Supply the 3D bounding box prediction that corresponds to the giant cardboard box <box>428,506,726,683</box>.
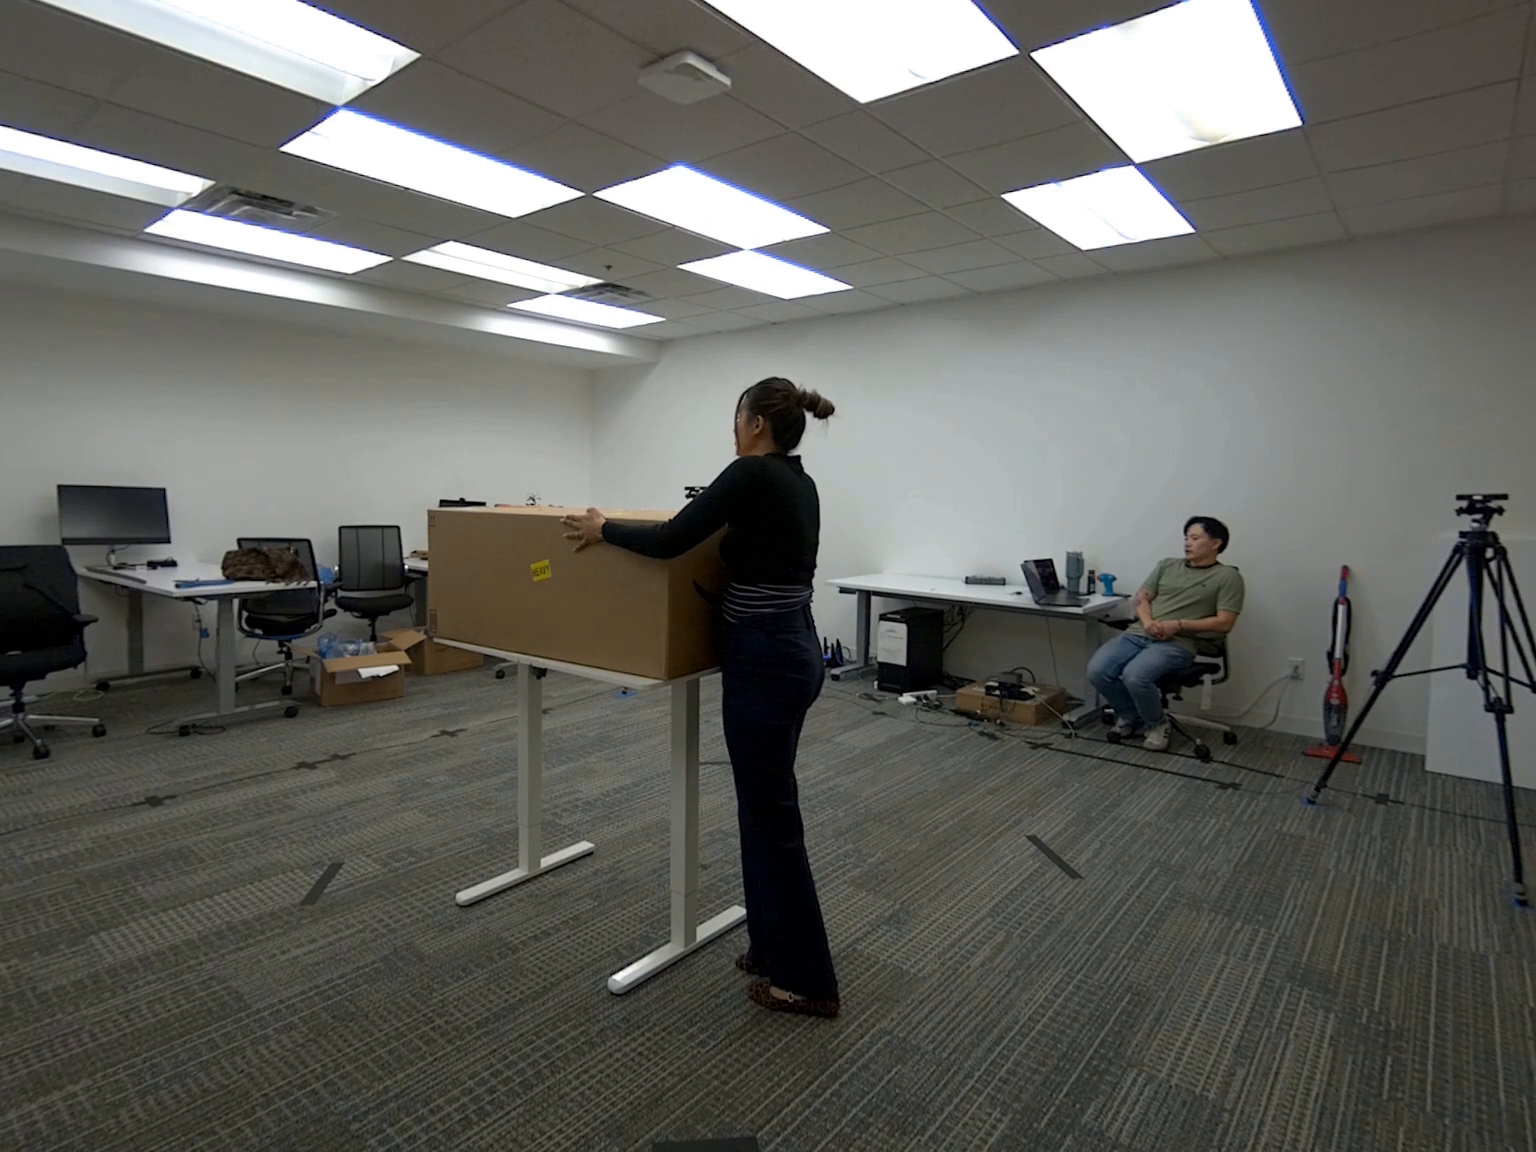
[{"bbox_3d":[-0.552,0.008,2.747,1.059,0.424,0.562,6,7,35],"label":"giant cardboard box"}]
